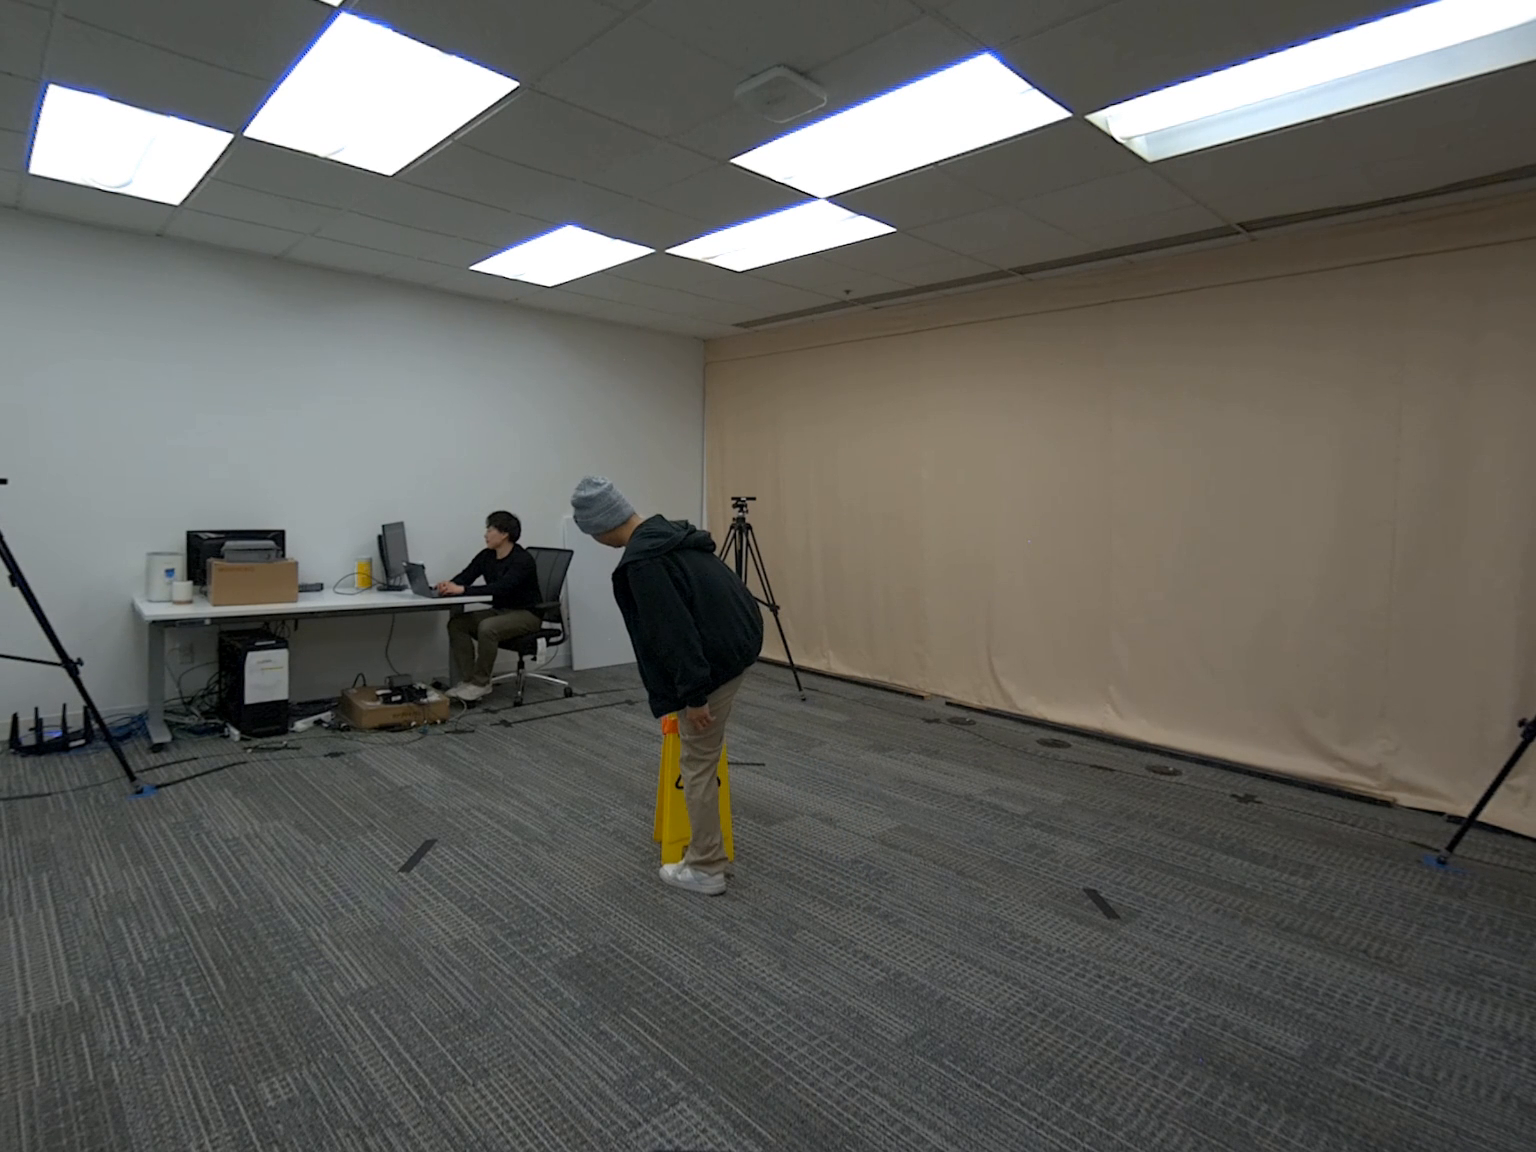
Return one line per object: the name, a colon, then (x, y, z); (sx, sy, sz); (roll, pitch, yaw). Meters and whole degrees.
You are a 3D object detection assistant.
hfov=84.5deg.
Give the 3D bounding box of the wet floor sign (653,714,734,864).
wet floor sign: (-0.300, 0.762, 3.303); (0.279, 0.645, 0.293); (1, 2, -13)
